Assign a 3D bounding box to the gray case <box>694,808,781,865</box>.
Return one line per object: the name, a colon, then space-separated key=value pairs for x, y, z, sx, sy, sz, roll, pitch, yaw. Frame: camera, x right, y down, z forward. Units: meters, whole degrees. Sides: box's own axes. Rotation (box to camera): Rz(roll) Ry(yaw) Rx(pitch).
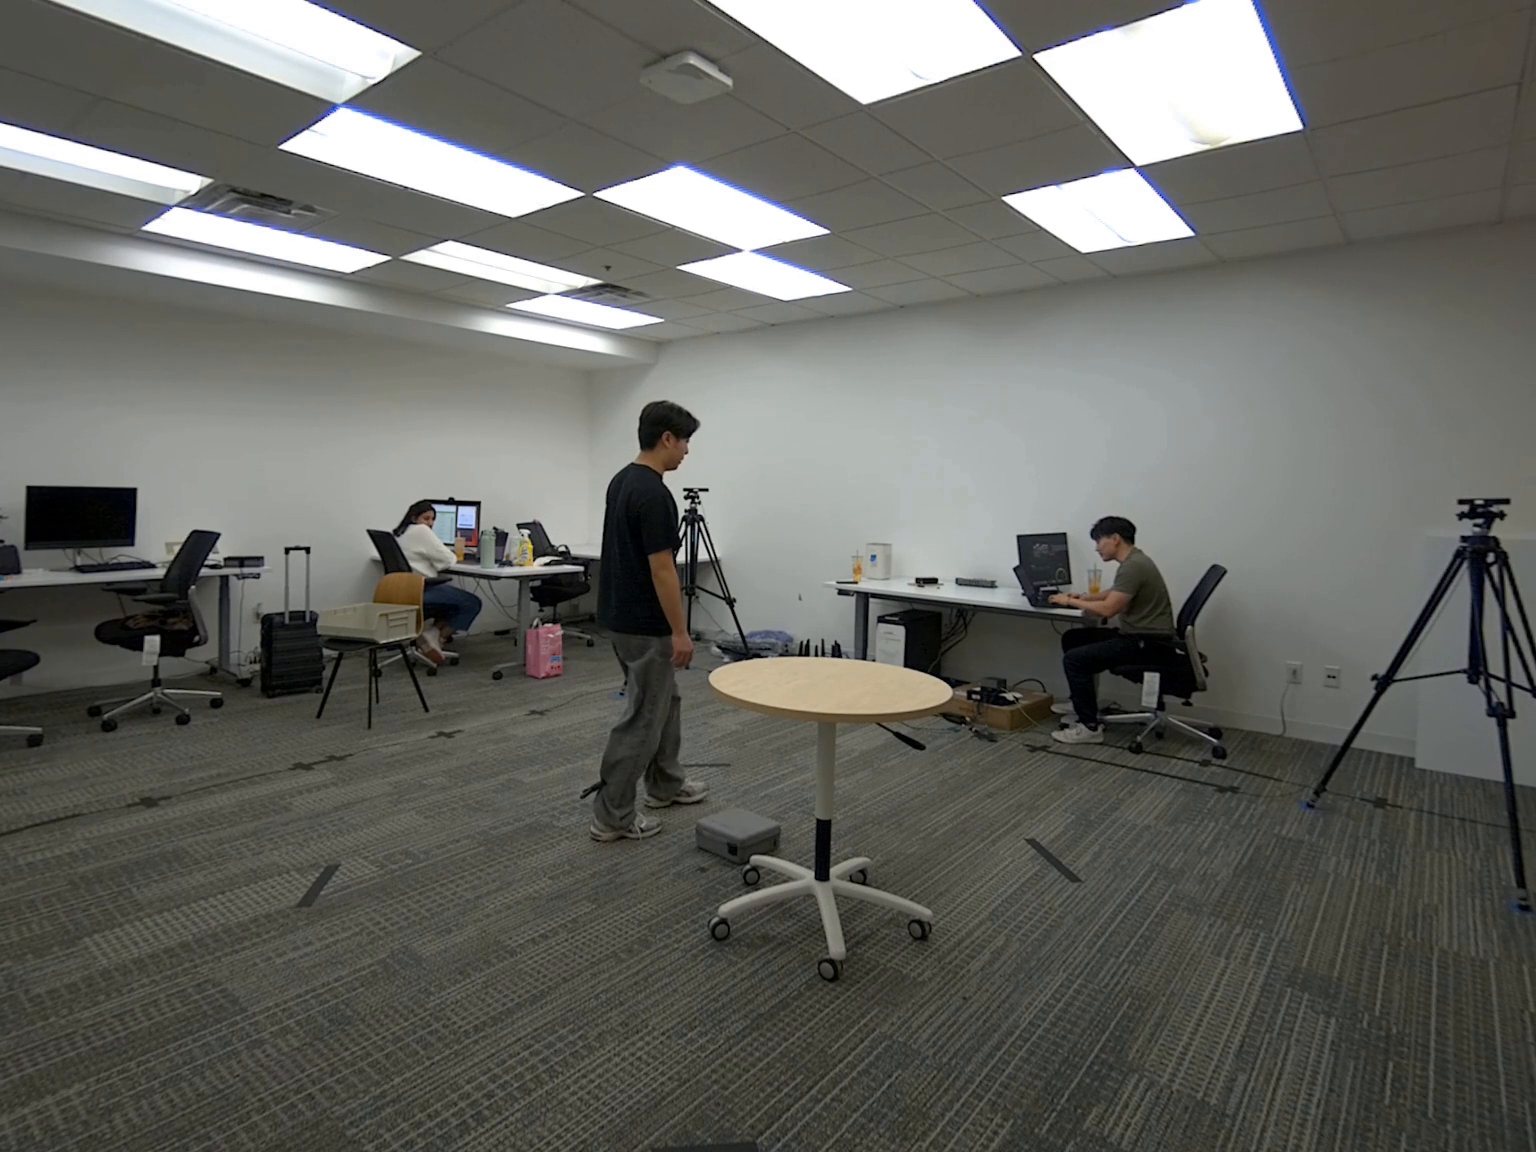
gray case: x=-0.120 y=0.997 z=3.310 sx=0.272 sy=0.103 sz=0.278 roll=6 pitch=6 yaw=42
